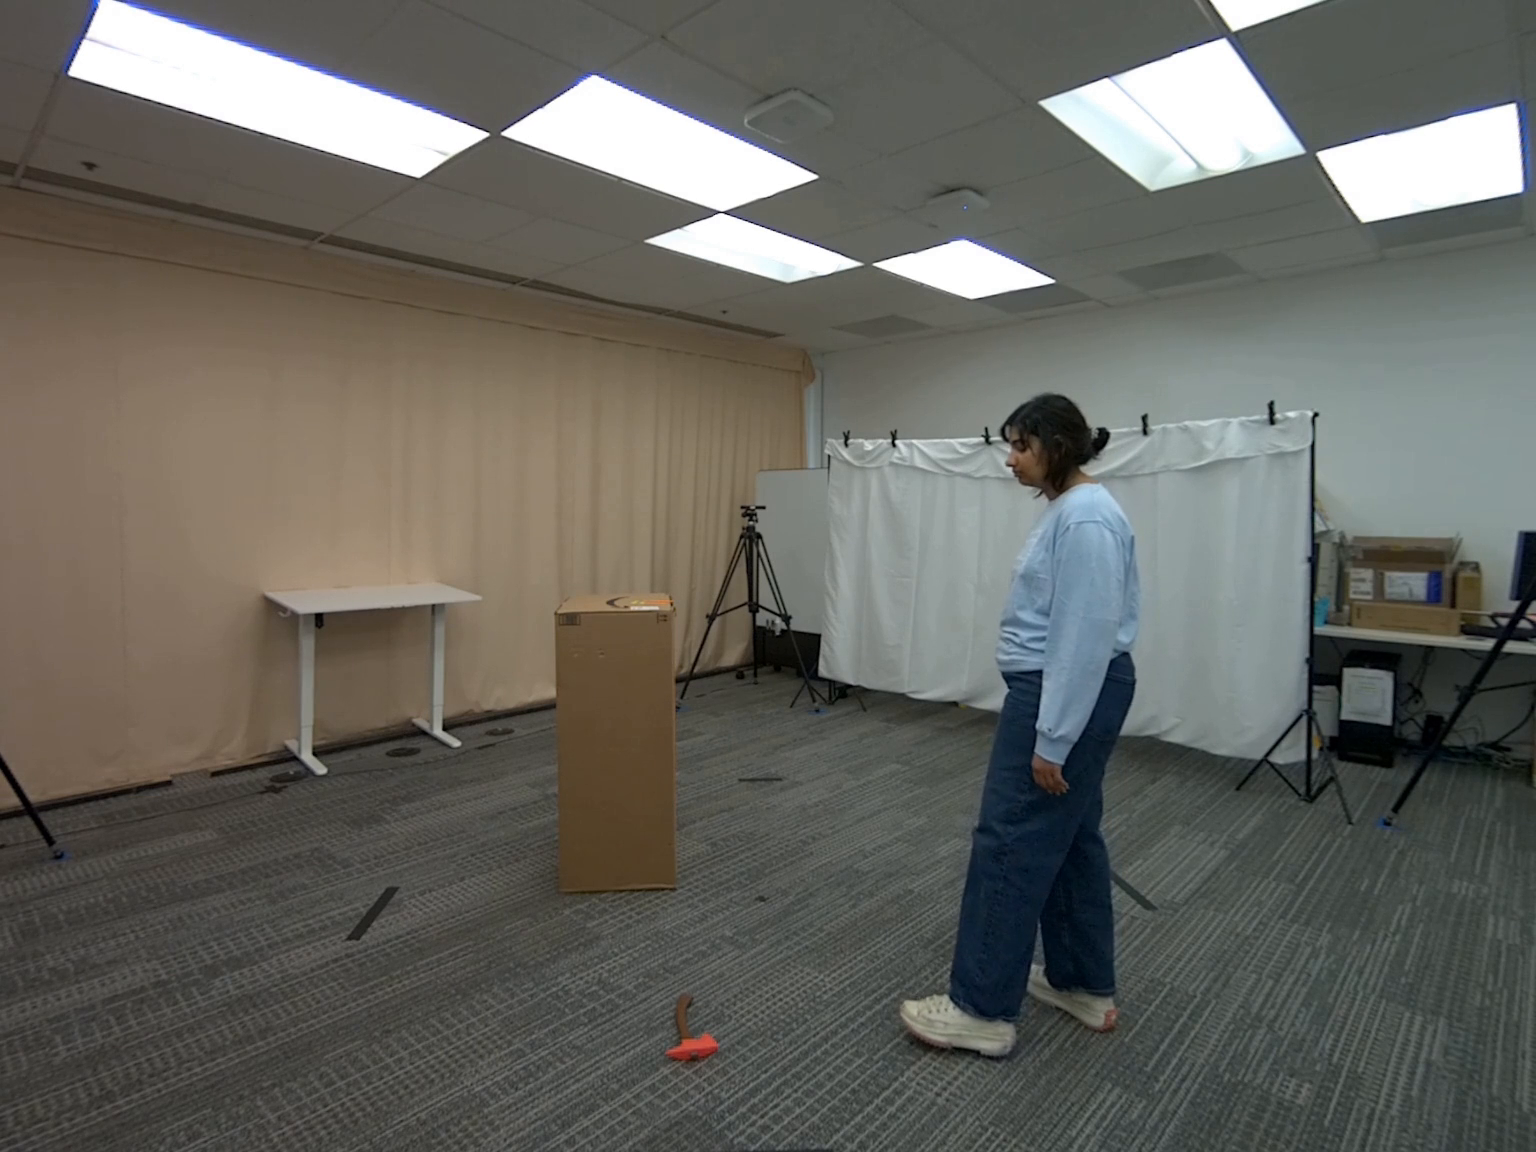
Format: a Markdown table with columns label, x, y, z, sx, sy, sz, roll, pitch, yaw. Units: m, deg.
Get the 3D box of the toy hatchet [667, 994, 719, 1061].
| label | x | y | z | sx | sy | sz | roll | pitch | yaw |
| --- | --- | --- | --- | --- | --- | --- | --- | --- | --- |
| toy hatchet | -0.187 | 1.196 | 2.235 | 0.132 | 0.029 | 0.269 | -2 | 5 | 4 |
